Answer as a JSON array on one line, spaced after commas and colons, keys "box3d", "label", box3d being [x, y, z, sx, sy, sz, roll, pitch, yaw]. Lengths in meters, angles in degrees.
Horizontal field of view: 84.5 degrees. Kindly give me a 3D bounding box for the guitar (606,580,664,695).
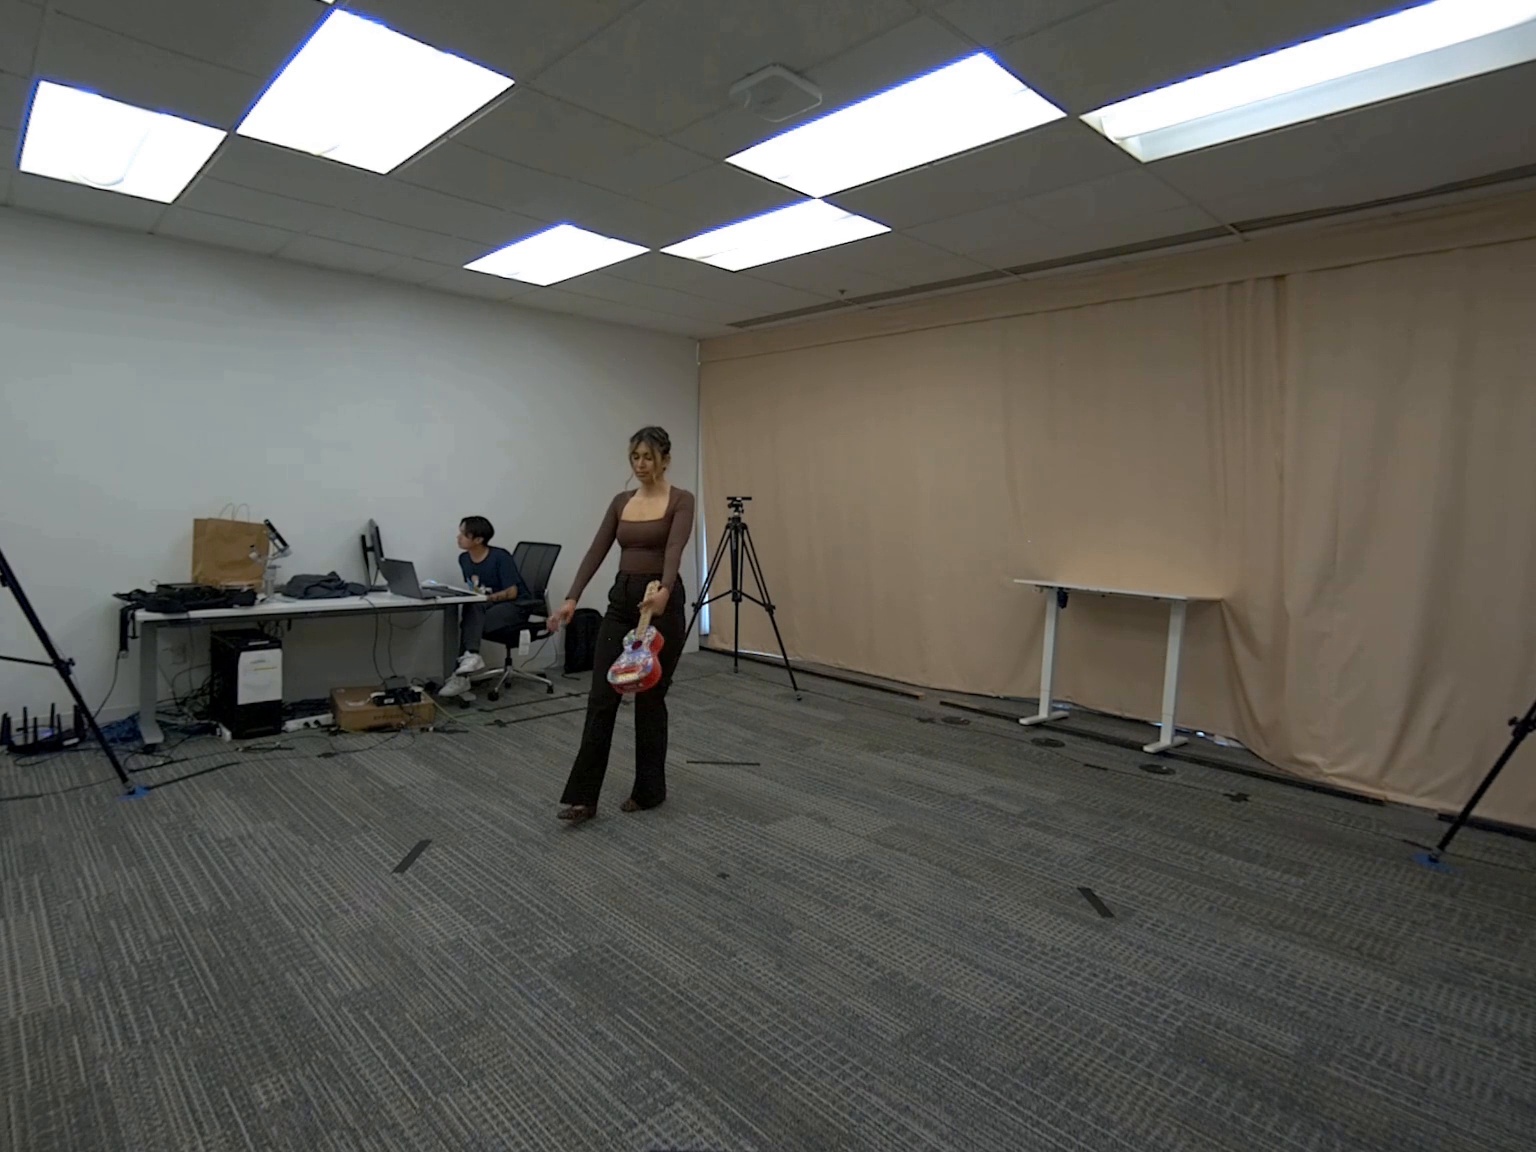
[{"box3d": [-0.447, 0.213, 3.183, 0.196, 0.504, 0.068, -7, -46, 28], "label": "guitar"}]
